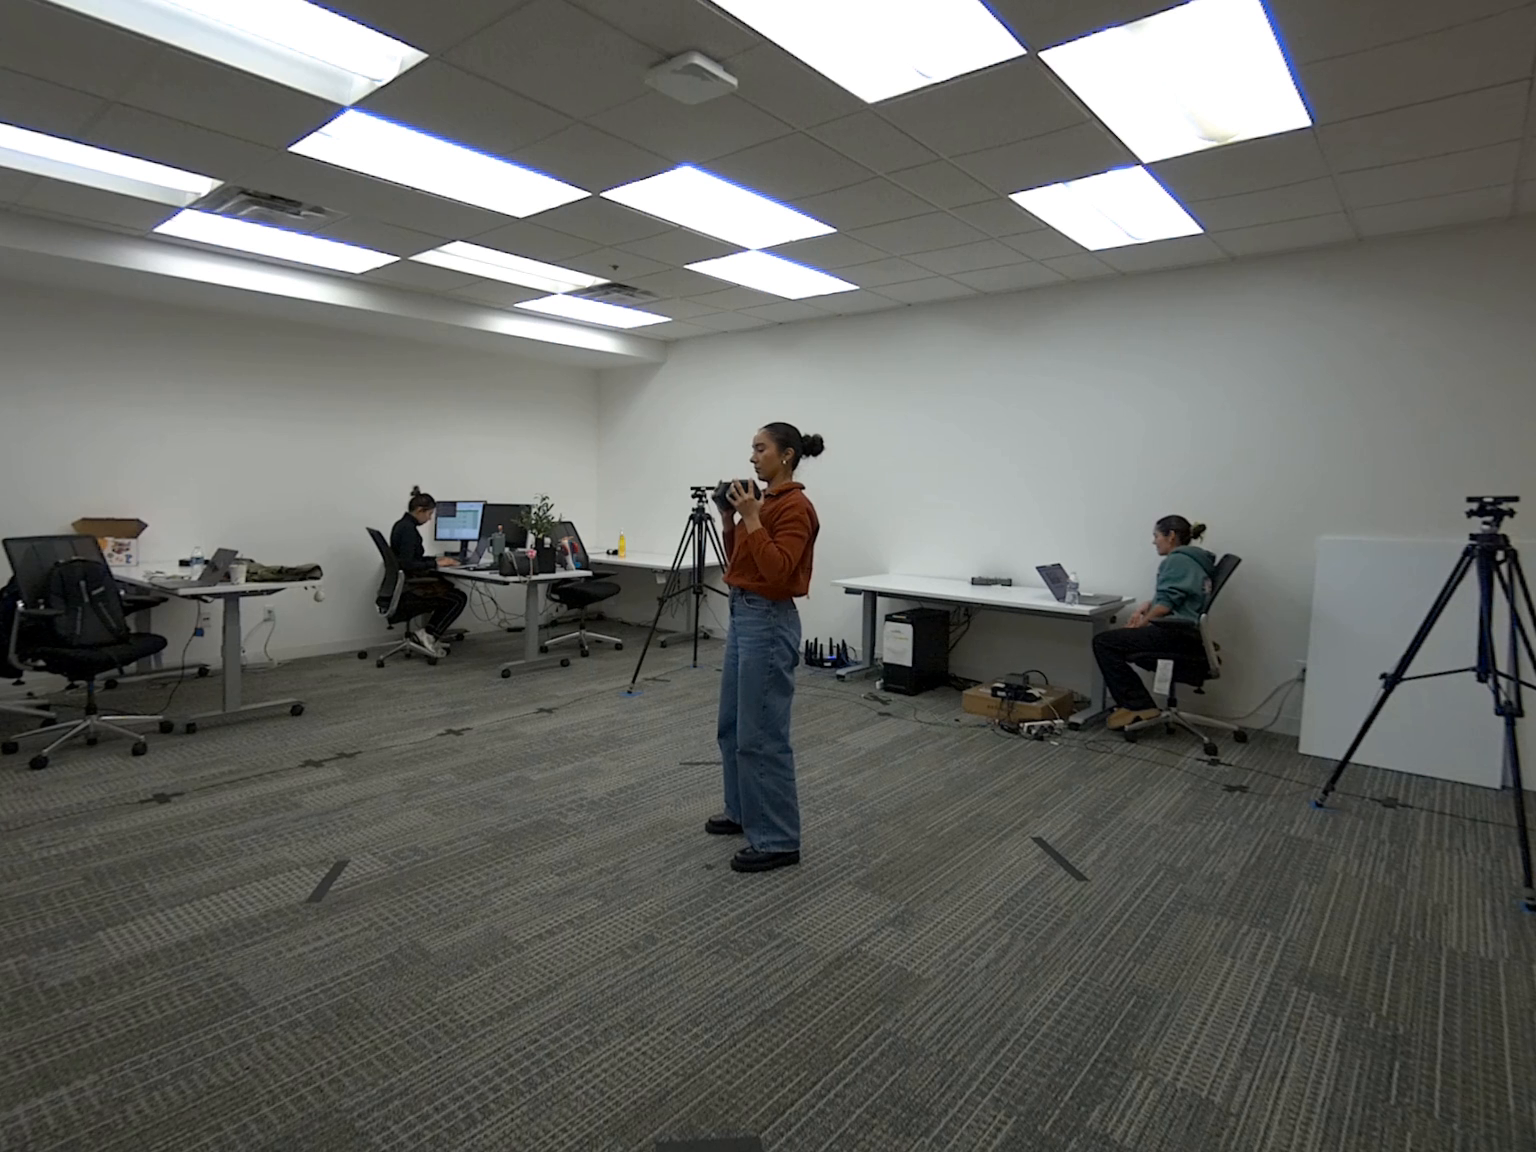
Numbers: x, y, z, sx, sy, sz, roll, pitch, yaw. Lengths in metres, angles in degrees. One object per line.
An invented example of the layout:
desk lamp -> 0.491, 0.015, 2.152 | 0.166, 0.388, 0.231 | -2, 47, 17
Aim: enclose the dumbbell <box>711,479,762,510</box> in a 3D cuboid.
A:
dumbbell -> -0.120, -0.309, 3.233 | 0.106, 0.123, 0.299 | 34, -5, -16
